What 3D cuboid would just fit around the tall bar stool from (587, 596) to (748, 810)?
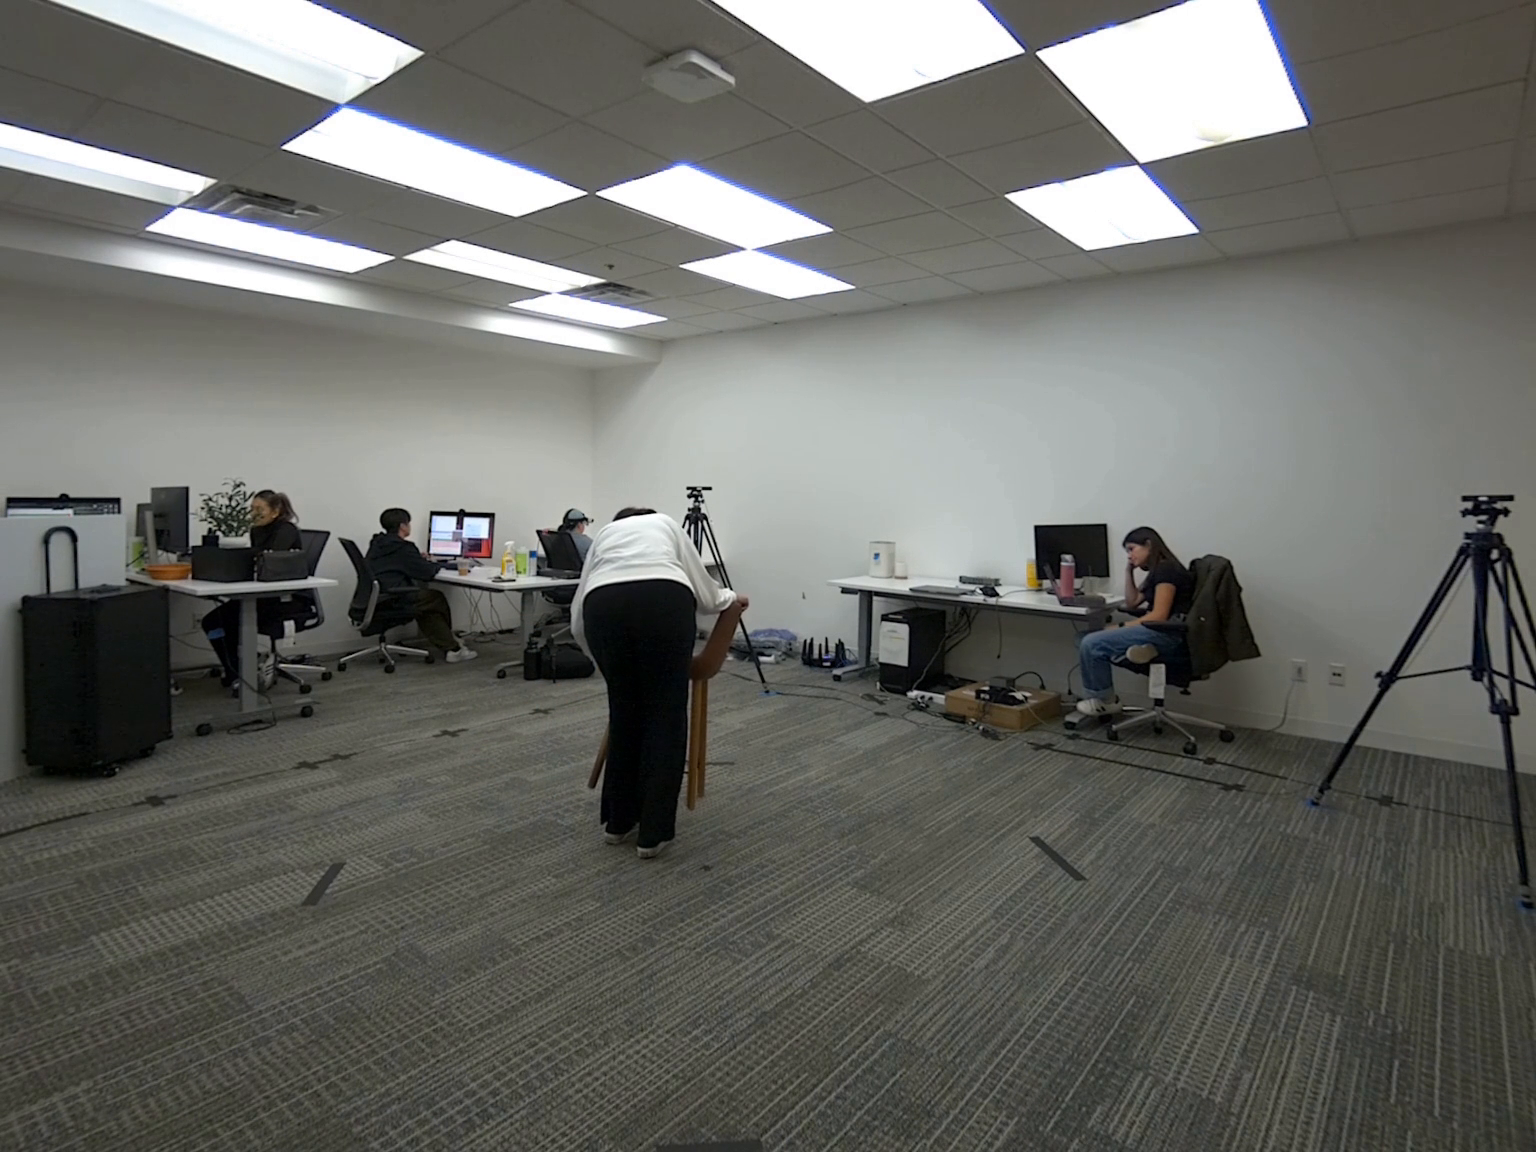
[{"bbox_3d":[-0.437,0.511,3.759,0.472,0.894,0.450,12,-7,7],"label":"tall bar stool"}]
